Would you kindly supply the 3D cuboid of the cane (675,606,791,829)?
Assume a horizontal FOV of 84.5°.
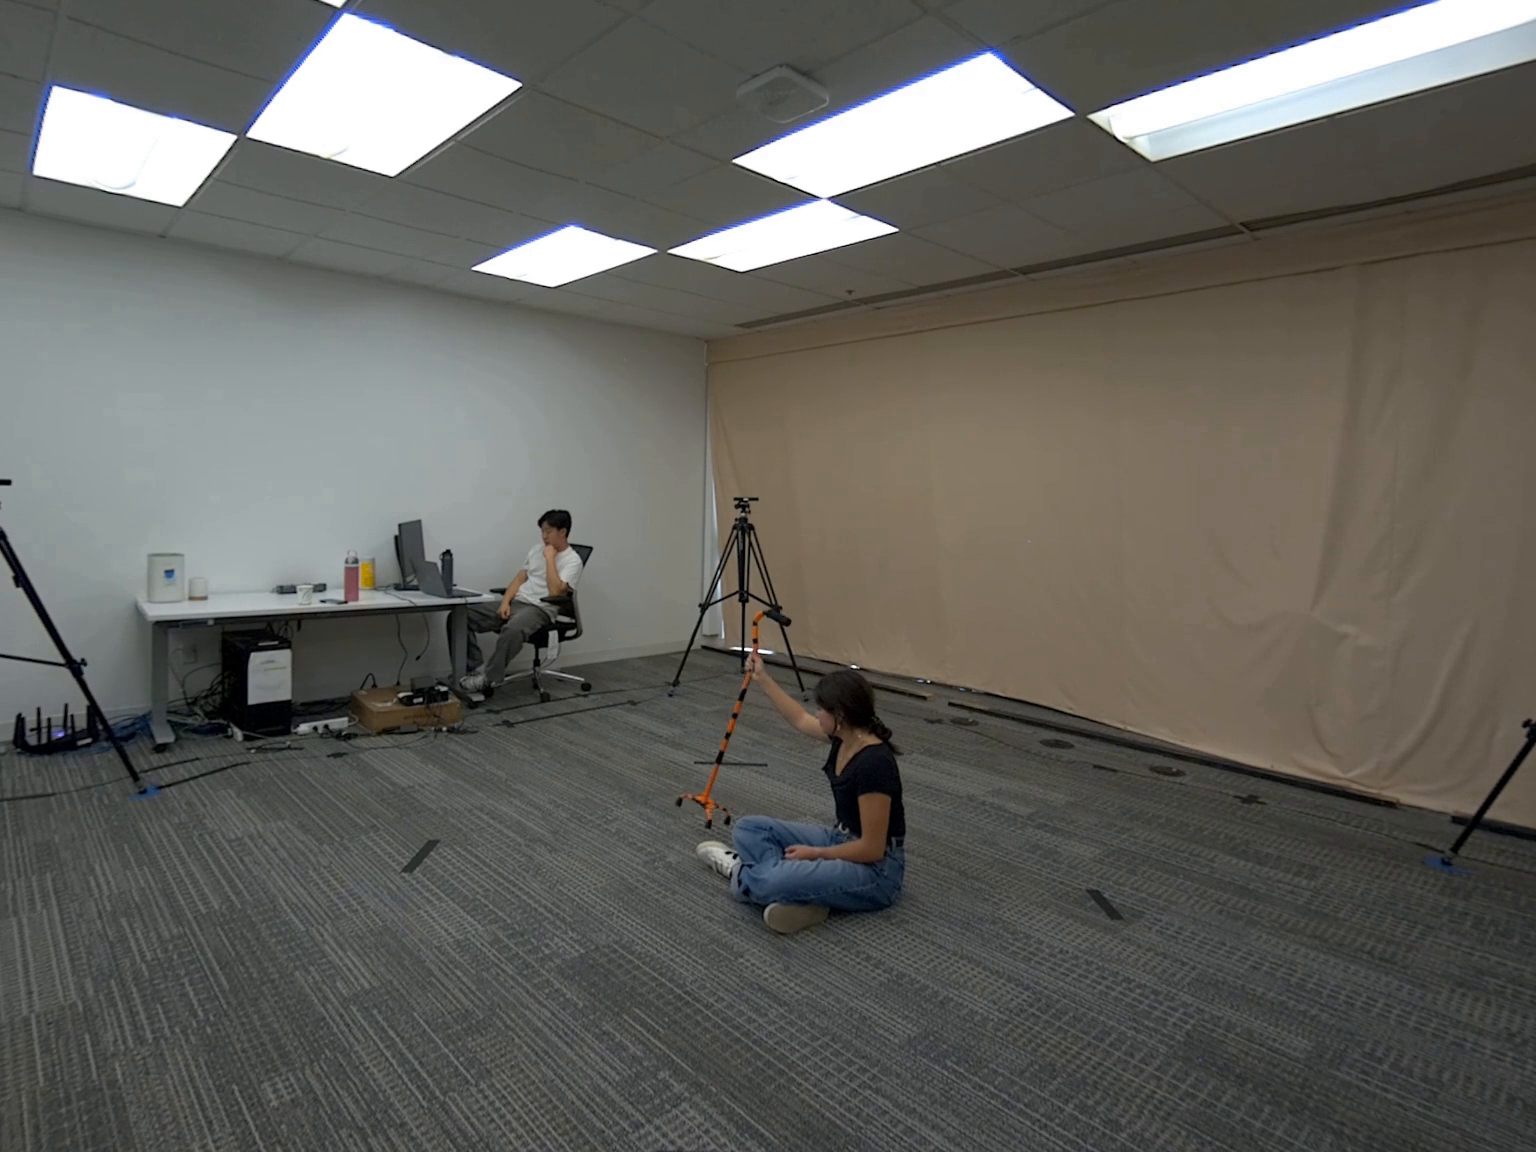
[{"bbox_3d":[-0.143,0.577,3.444,0.213,0.905,0.147,24,8,40],"label":"cane"}]
